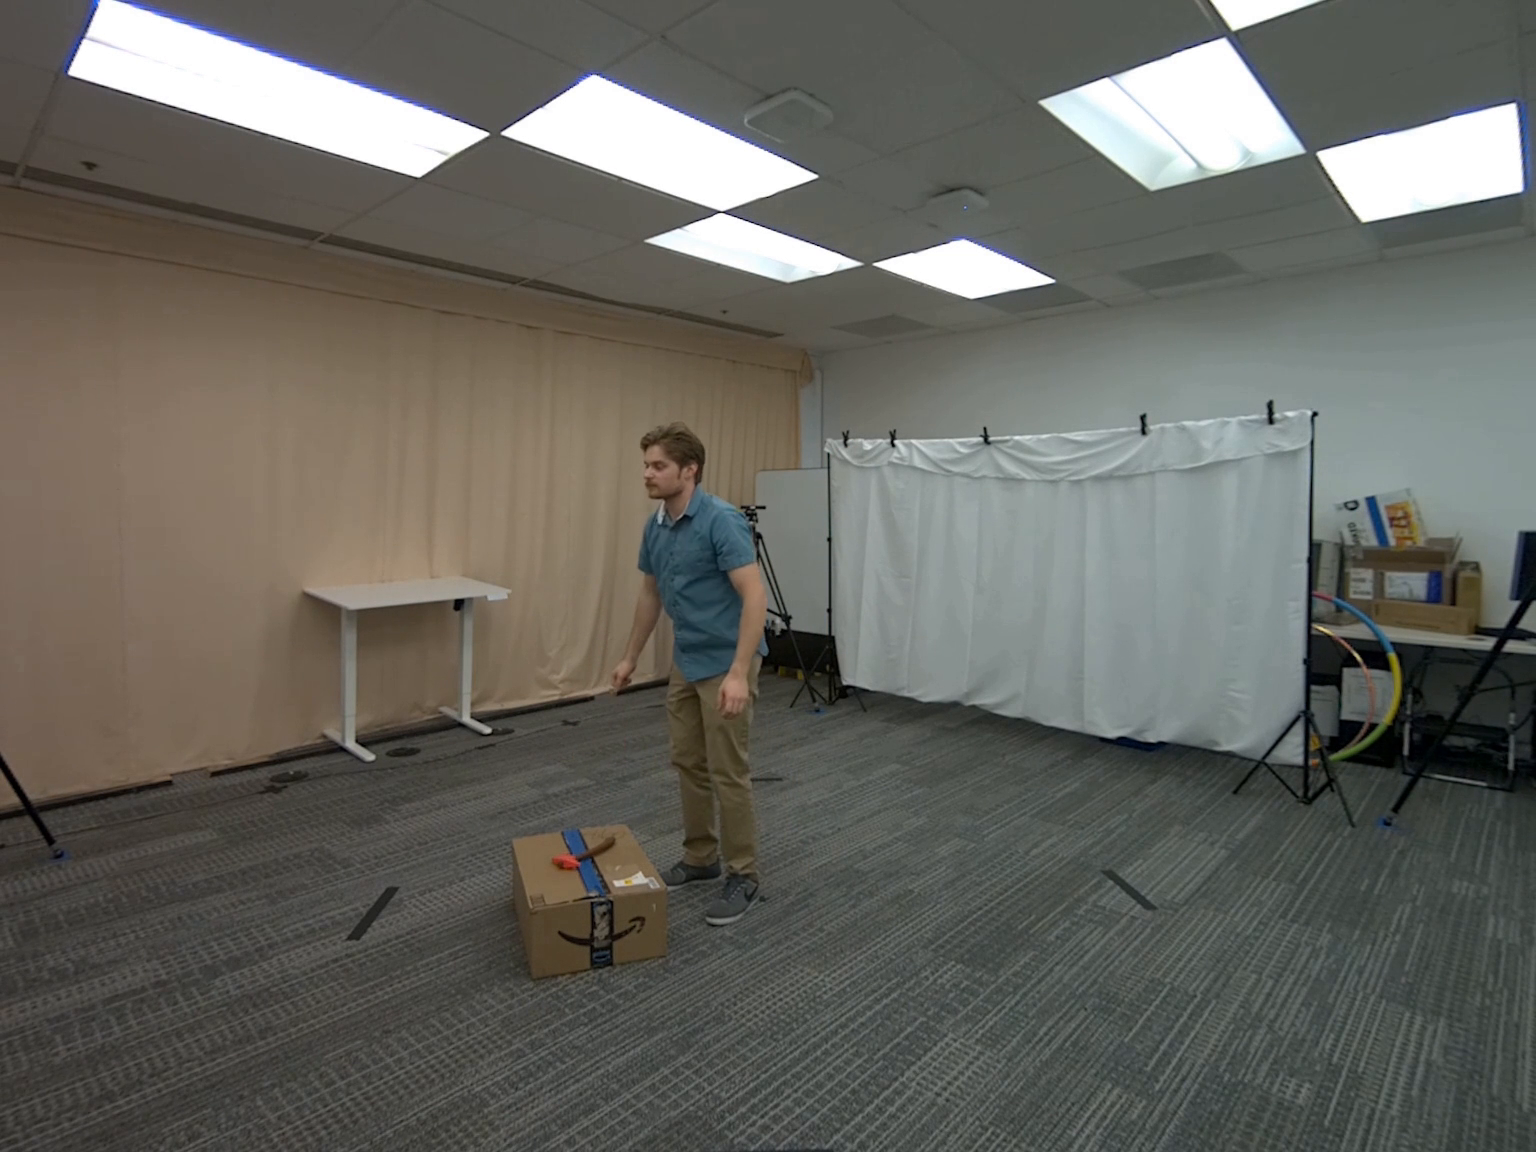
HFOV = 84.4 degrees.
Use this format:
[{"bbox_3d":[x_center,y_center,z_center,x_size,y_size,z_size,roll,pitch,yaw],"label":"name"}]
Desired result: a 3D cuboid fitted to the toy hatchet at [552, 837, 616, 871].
[{"bbox_3d":[-0.623,0.928,2.842,0.133,0.029,0.264,-5,0,19],"label":"toy hatchet"}]
